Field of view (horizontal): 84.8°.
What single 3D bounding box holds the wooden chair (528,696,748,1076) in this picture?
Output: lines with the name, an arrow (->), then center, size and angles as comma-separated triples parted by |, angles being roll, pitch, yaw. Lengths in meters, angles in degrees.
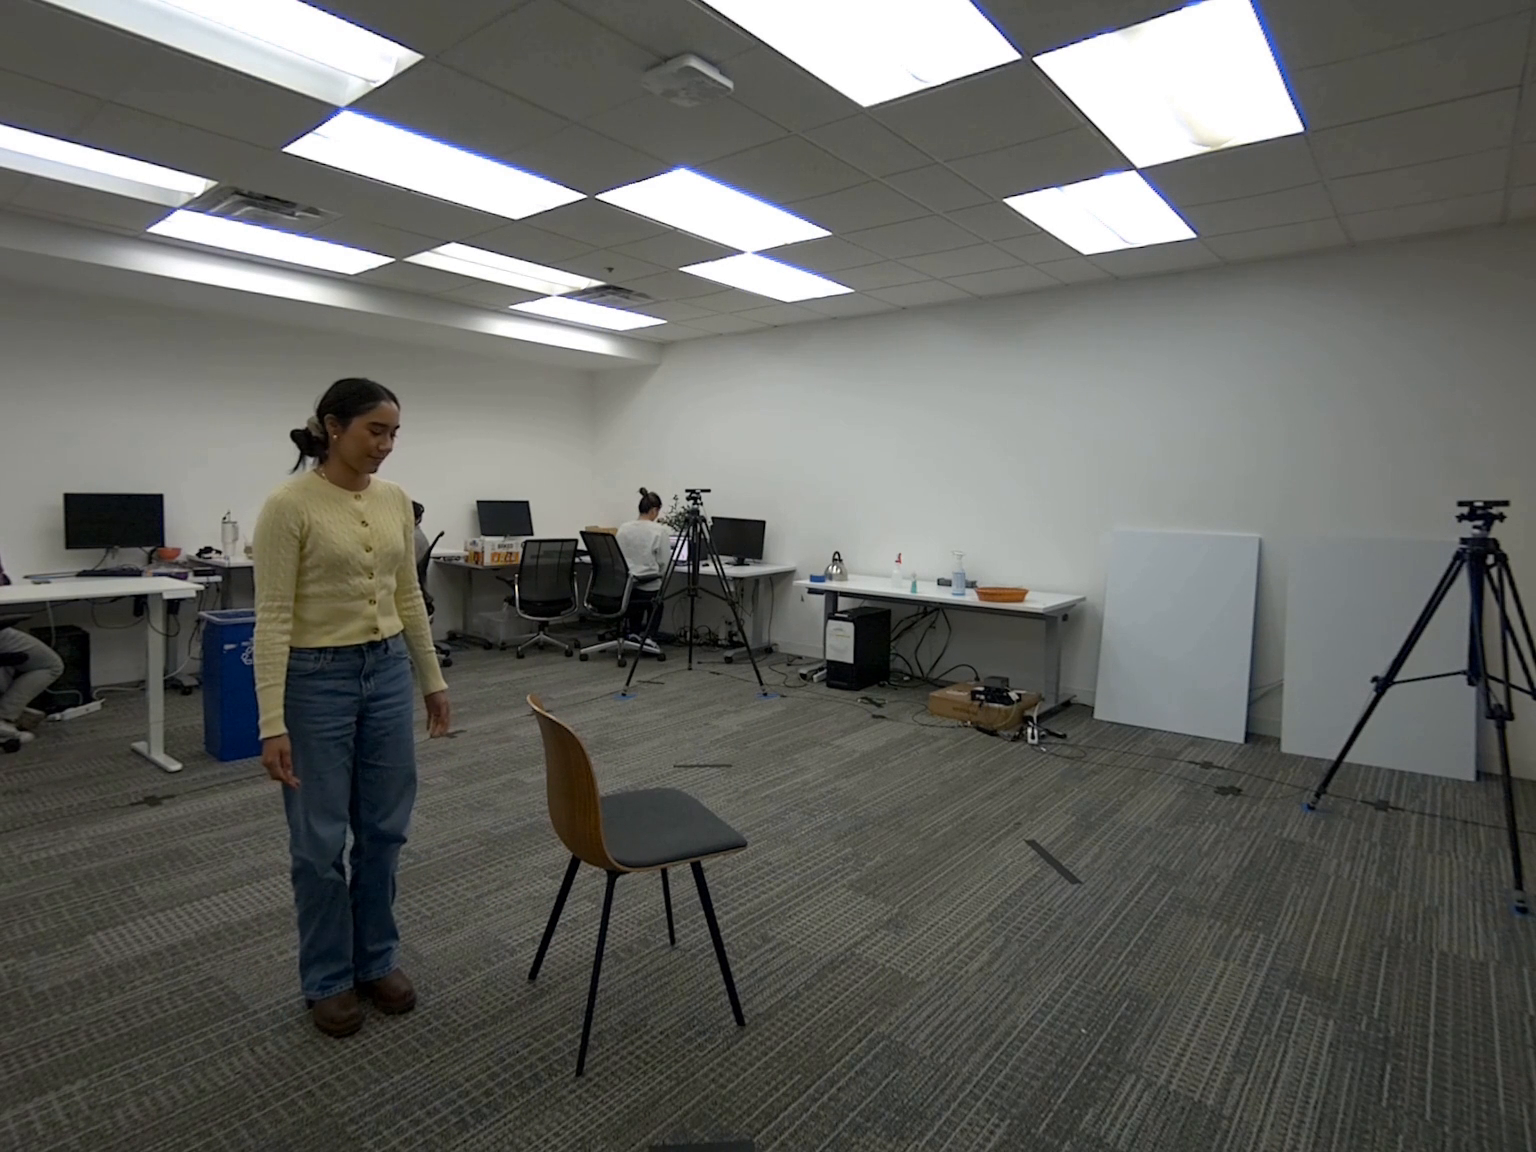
wooden chair -> -0.360, 0.726, 2.284 | 0.511, 0.873, 0.492 | -6, 6, -29
